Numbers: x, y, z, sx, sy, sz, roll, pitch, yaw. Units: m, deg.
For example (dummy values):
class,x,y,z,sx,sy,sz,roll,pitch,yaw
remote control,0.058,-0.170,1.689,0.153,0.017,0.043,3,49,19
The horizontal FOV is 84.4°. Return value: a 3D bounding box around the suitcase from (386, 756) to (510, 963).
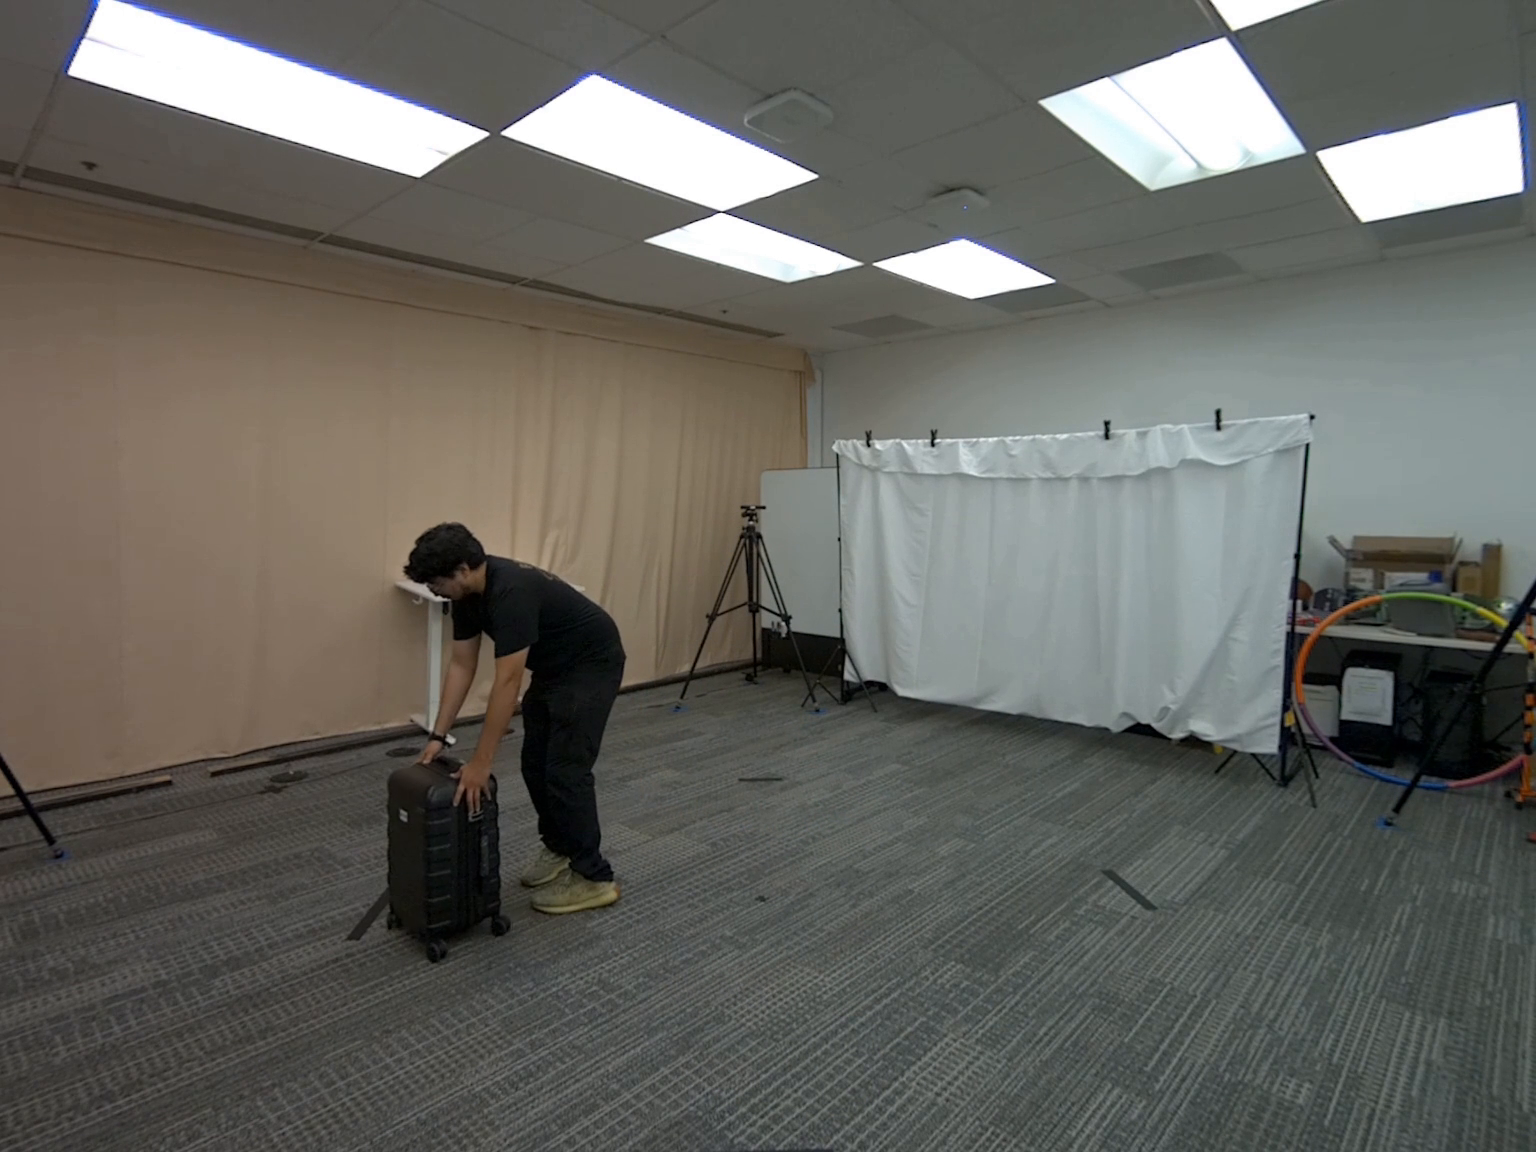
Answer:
class,x,y,z,sx,sy,sz,roll,pitch,yaw
suitcase,-1.078,0.894,2.771,0.240,0.549,0.388,-2,3,-45
